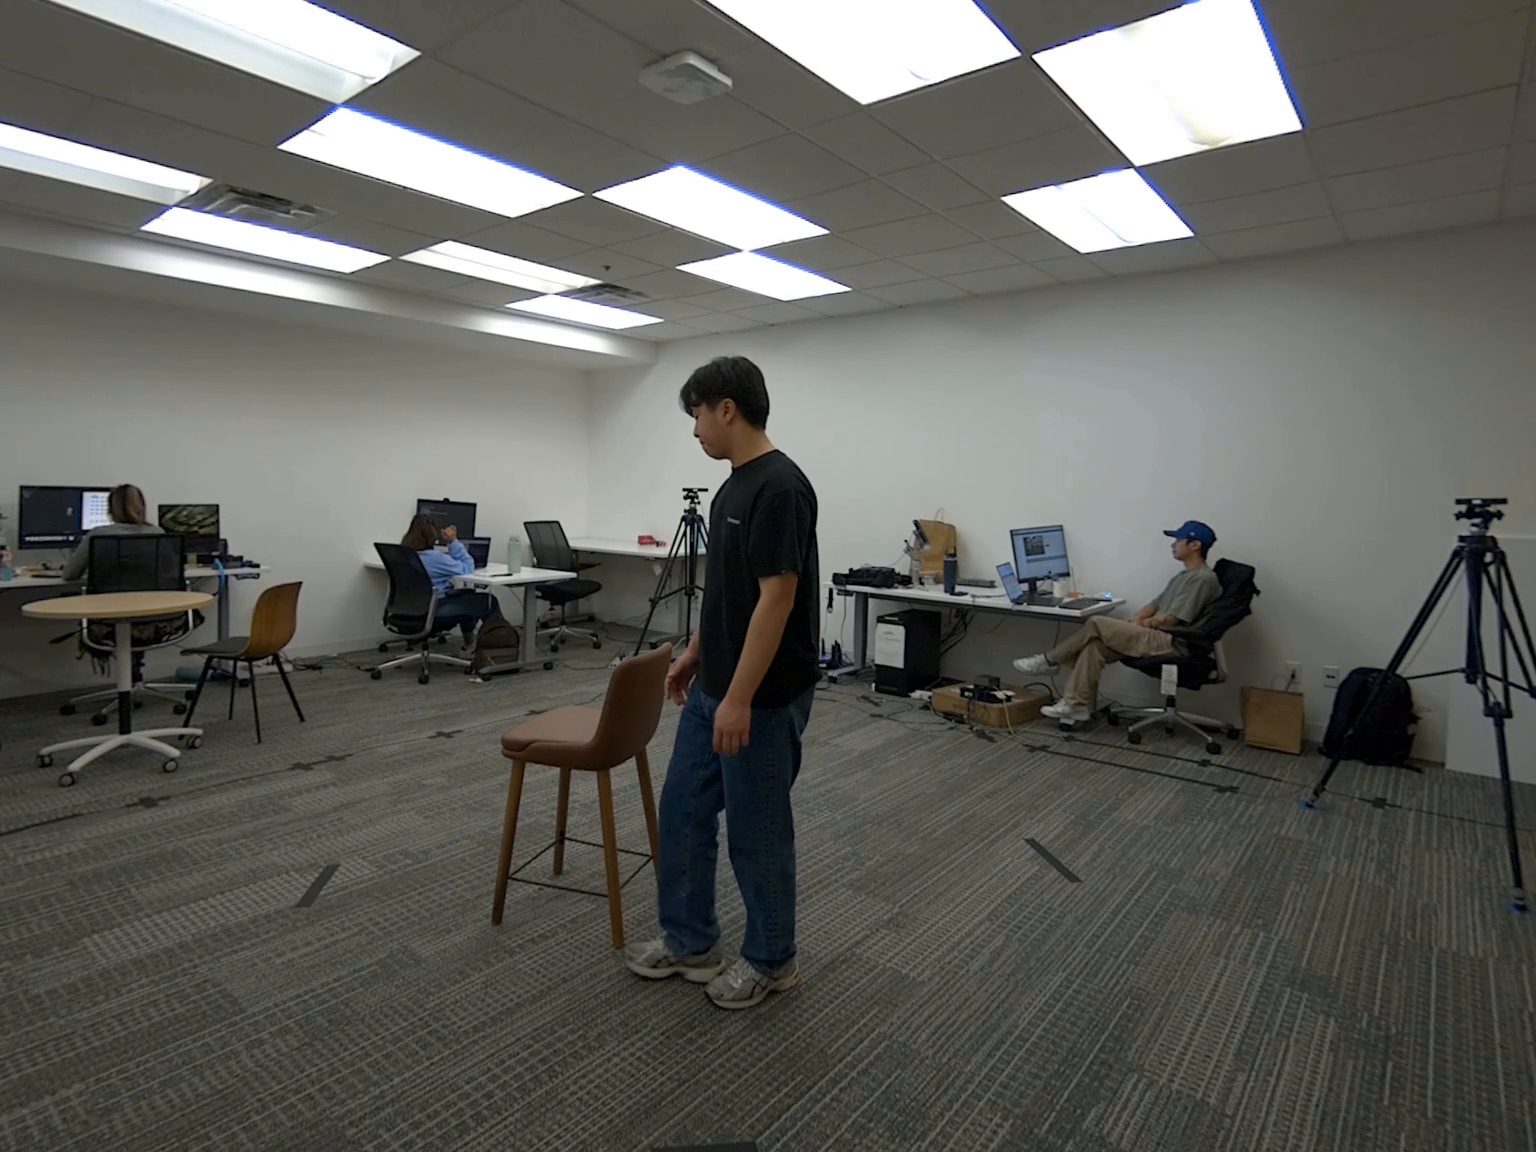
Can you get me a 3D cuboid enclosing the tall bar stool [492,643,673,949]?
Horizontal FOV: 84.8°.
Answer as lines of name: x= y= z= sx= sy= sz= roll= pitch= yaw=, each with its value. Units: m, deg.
tall bar stool: x=-0.602 y=0.657 z=2.783 sx=0.478 sy=0.887 sz=0.448 roll=4 pitch=4 yaw=19
